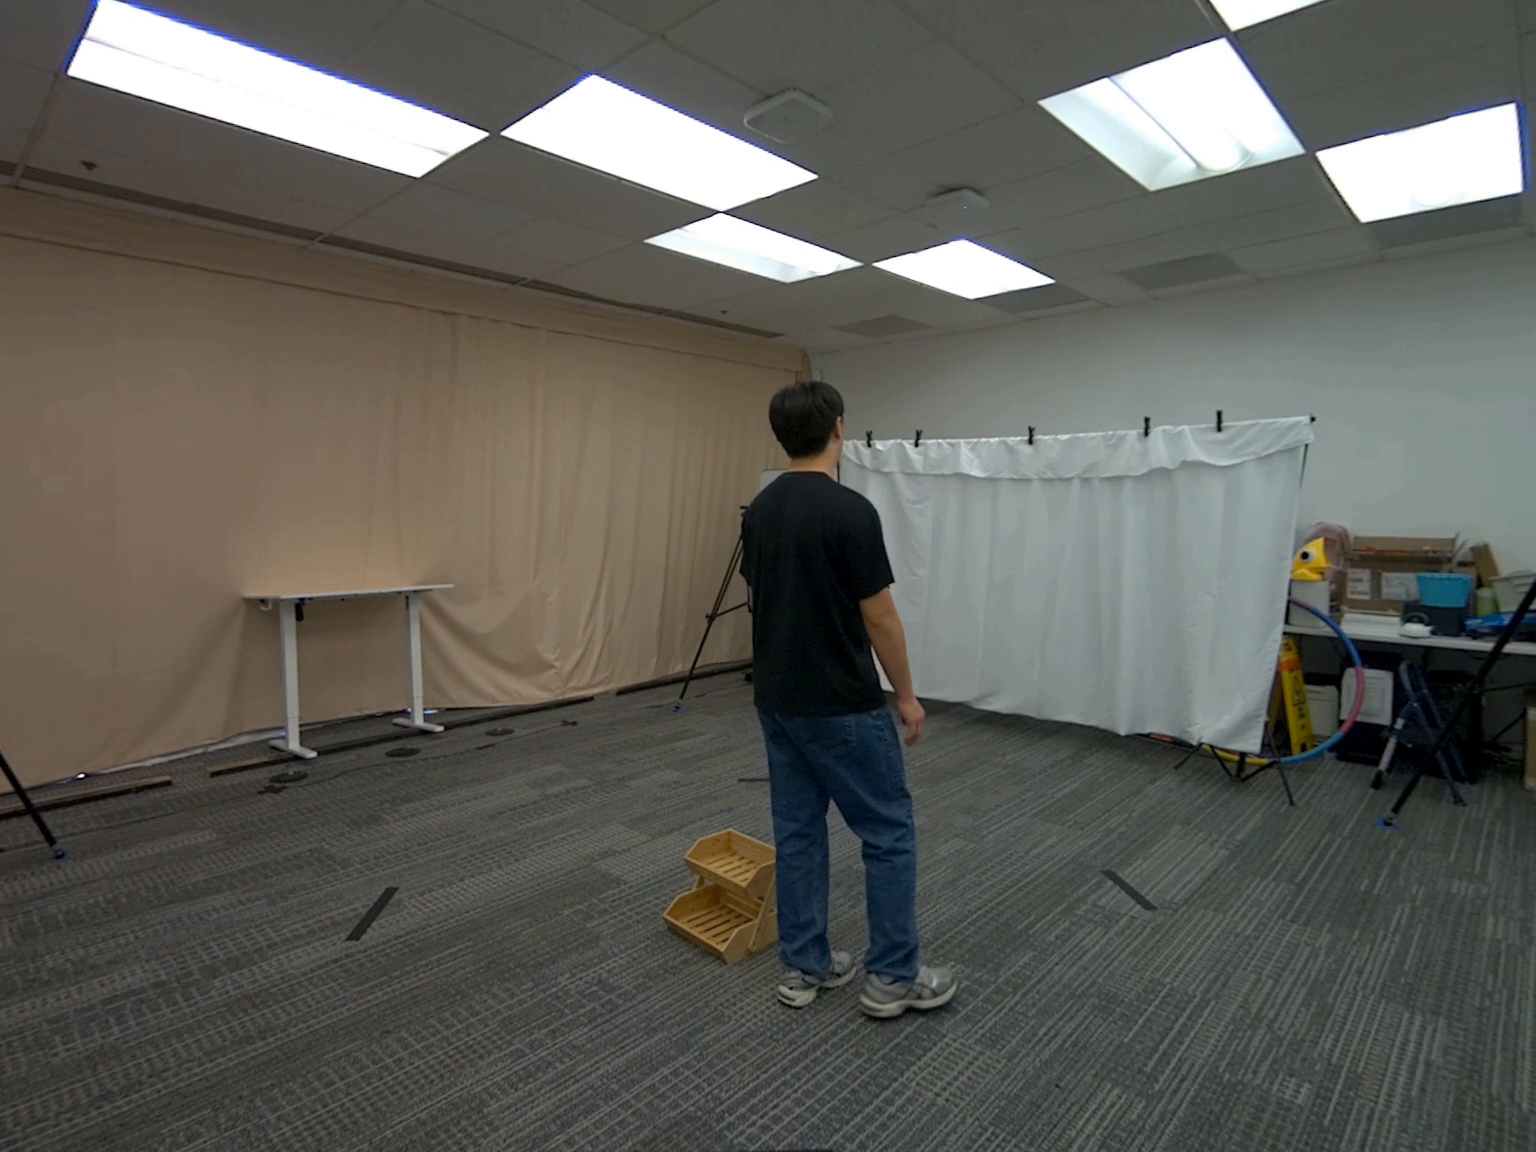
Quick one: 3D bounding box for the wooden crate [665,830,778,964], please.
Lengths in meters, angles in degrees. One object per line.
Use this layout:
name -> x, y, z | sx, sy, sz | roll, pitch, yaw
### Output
wooden crate -> -0.133, 1.032, 2.747 | 0.293, 0.273, 0.335 | -3, 5, -43
